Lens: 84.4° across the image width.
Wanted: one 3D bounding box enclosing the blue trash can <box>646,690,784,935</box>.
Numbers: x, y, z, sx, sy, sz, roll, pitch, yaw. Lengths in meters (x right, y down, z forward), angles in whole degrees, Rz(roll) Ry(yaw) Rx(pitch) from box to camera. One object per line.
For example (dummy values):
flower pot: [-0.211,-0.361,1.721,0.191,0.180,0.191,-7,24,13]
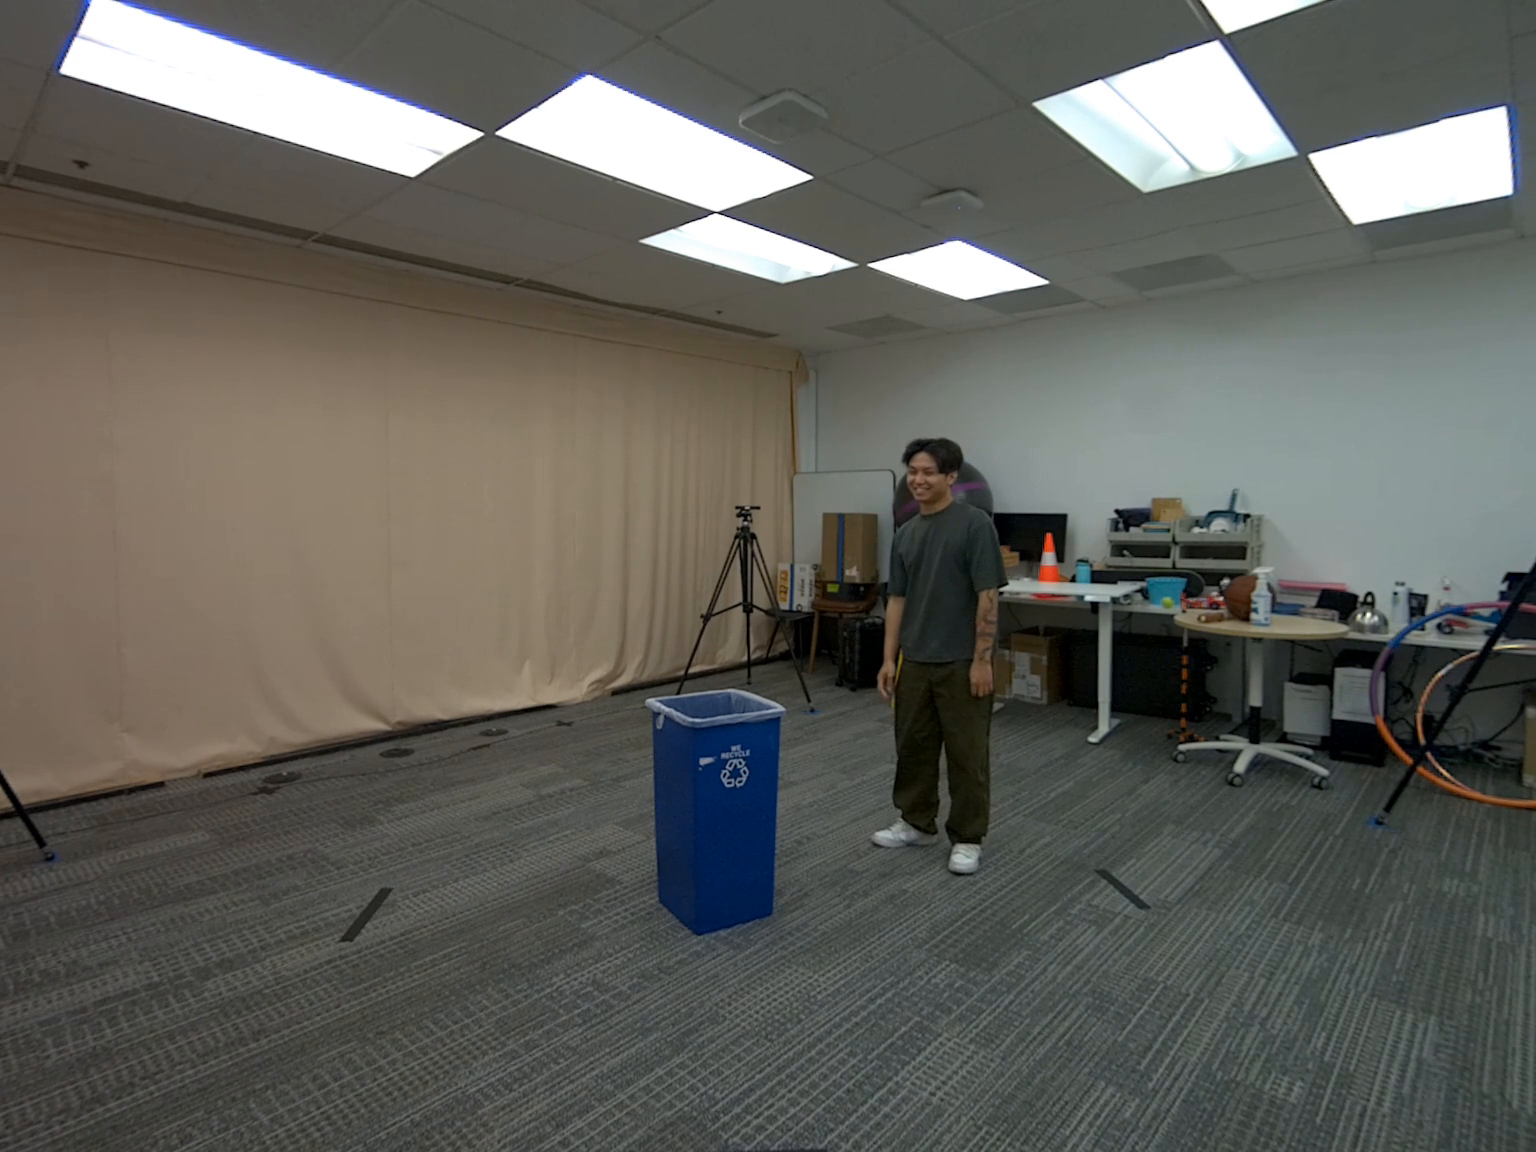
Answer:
blue trash can: [-0.178,0.792,2.914,0.364,0.712,0.389,-2,4,-32]
